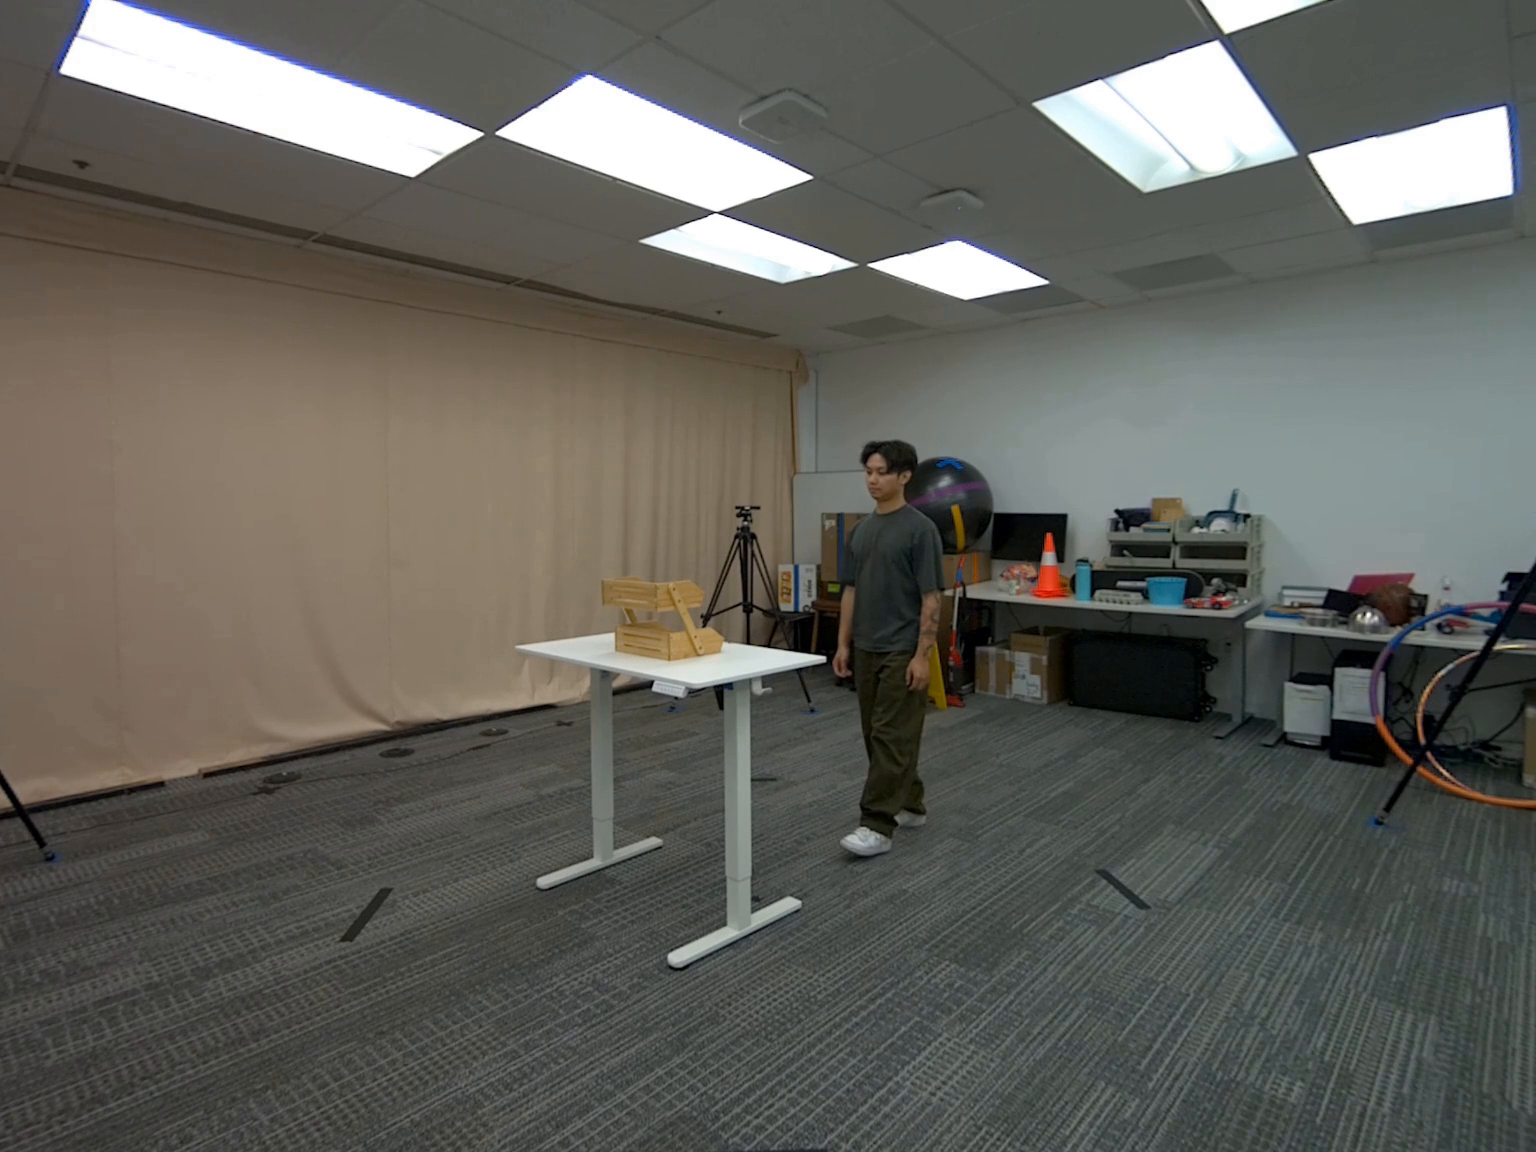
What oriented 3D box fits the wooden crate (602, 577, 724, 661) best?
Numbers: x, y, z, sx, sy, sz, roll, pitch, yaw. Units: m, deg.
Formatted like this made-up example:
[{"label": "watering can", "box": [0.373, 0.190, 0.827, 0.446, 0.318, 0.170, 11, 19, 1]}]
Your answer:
[{"label": "wooden crate", "box": [-0.363, 0.135, 2.943, 0.335, 0.273, 0.293, 2, 5, 44]}]
